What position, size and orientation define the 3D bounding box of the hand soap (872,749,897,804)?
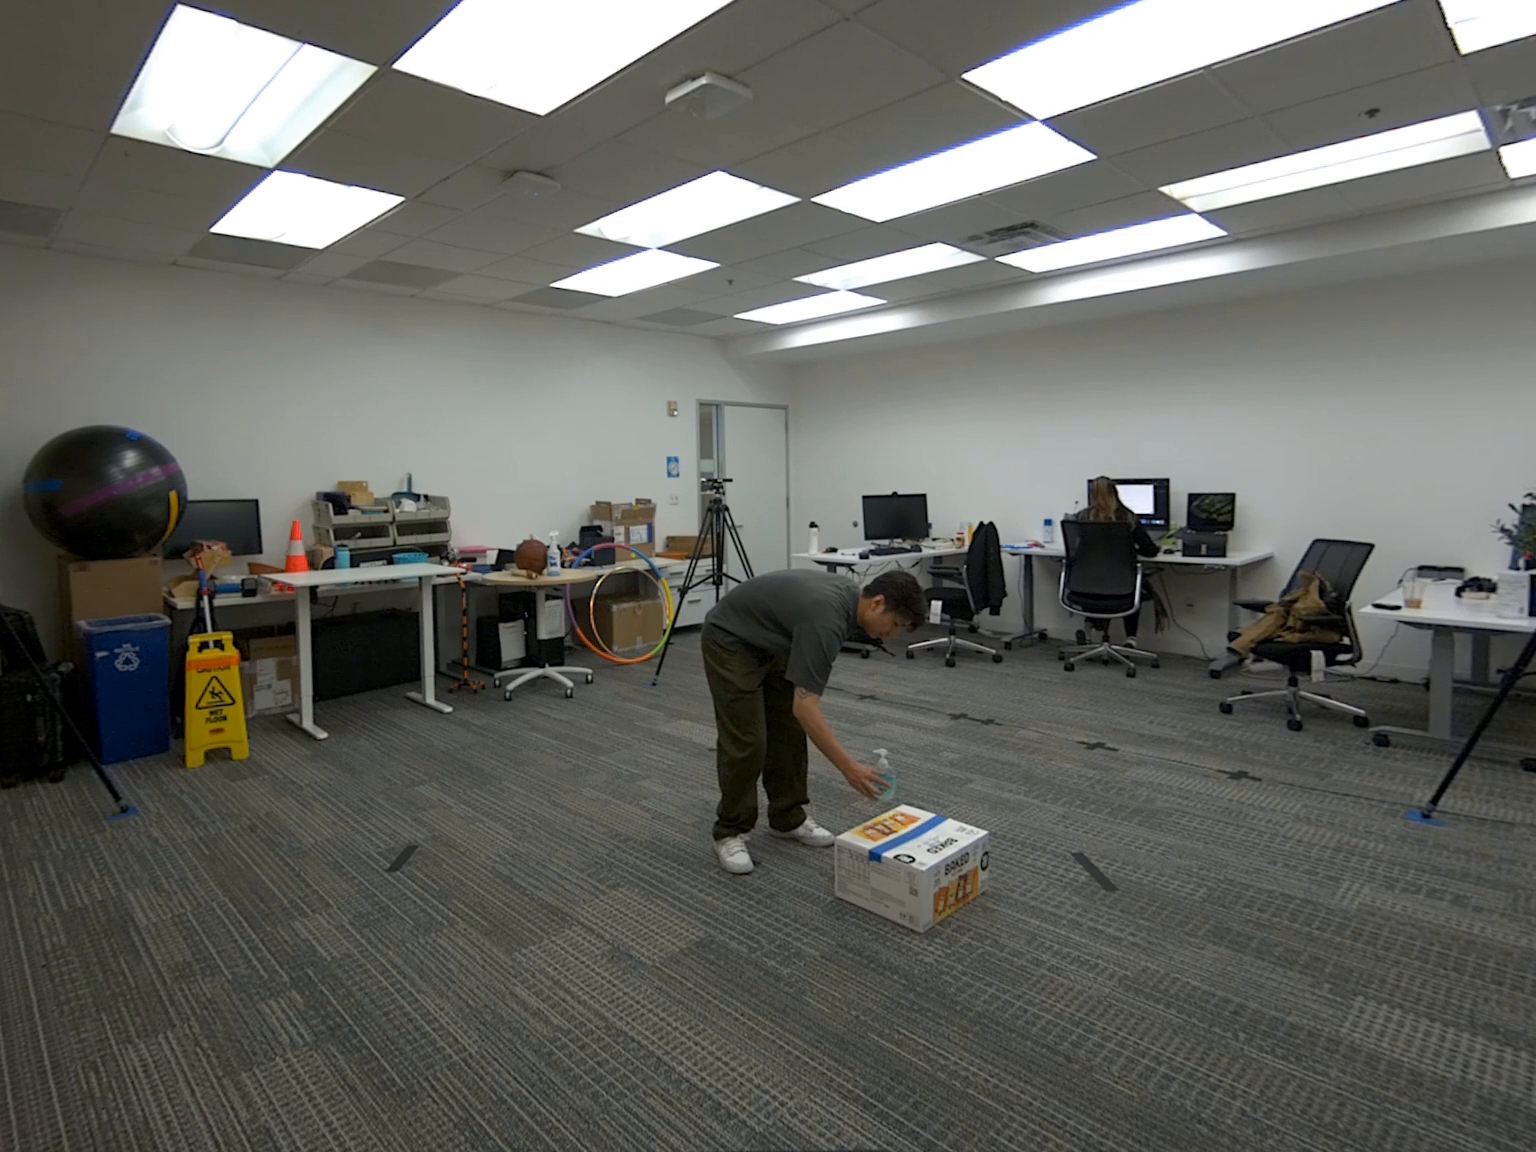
[{"bbox_3d":[0.375,0.646,2.793,0.085,0.166,0.043,-3,13,8],"label":"hand soap"}]
